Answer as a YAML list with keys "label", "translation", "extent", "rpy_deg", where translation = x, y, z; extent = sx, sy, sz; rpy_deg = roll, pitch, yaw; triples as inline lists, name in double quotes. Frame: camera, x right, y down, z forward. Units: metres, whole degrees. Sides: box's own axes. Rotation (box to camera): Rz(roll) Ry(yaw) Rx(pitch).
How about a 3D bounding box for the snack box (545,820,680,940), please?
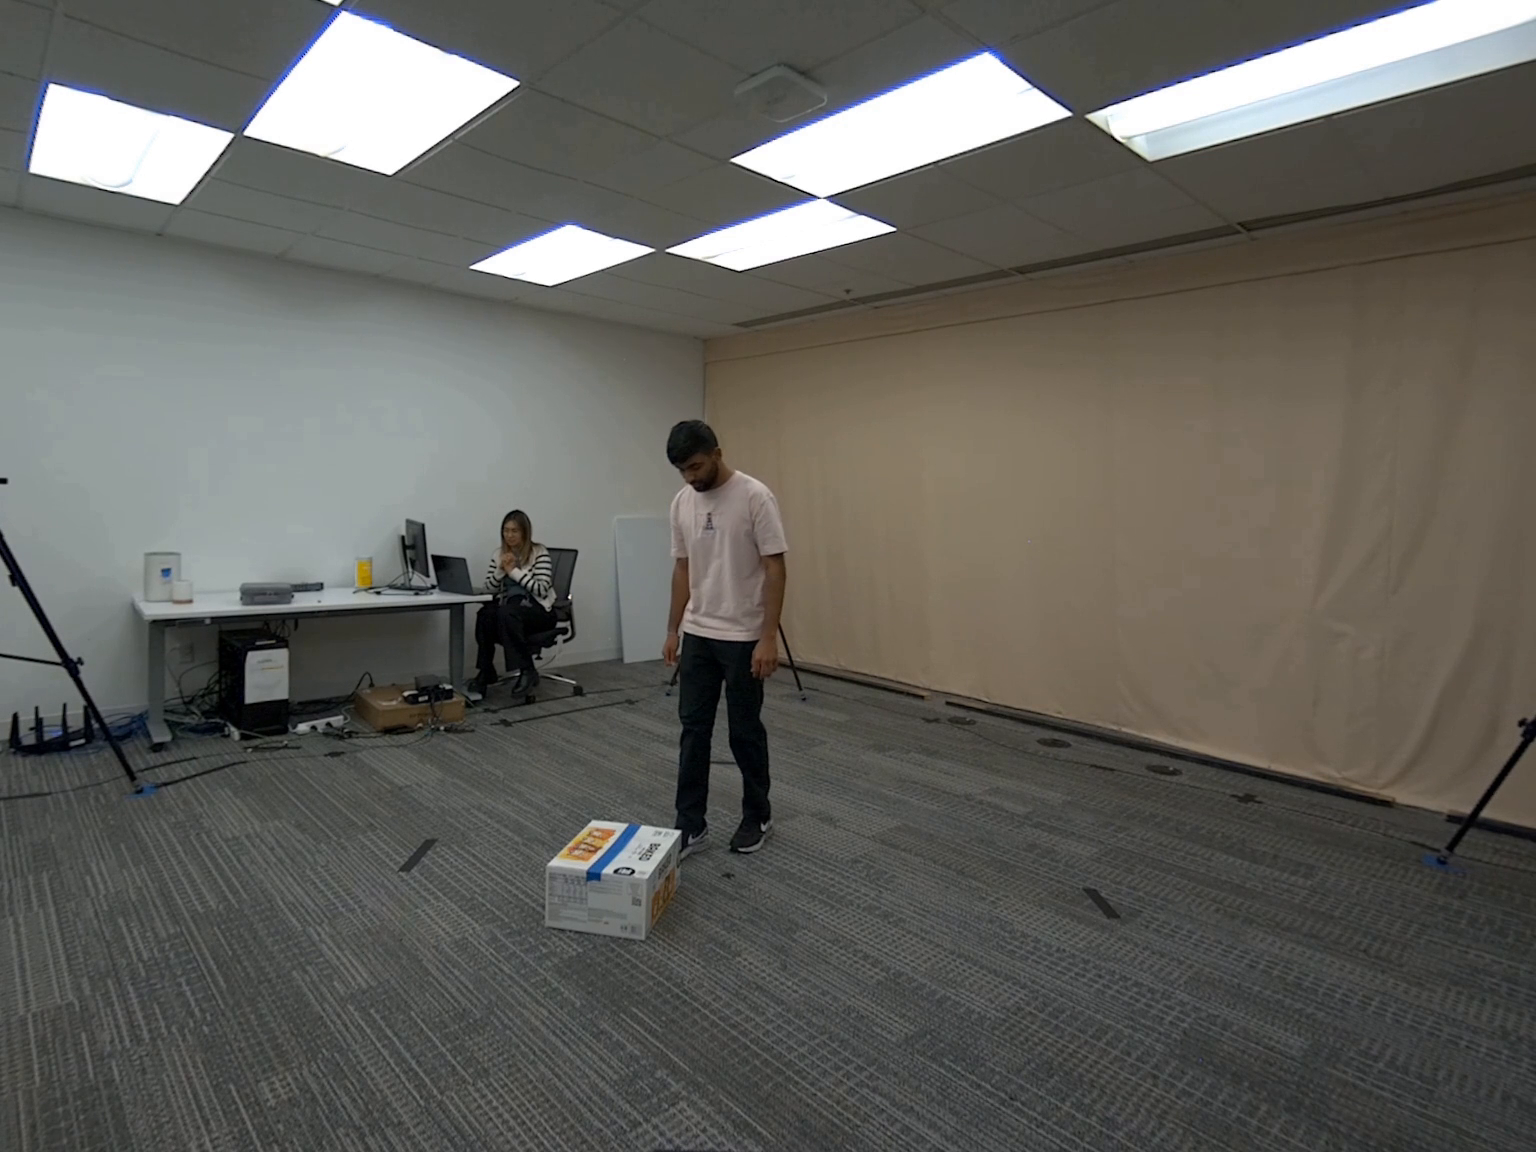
- label: "snack box"
  translation: [-0.523, 1.022, 2.849]
  extent: [0.343, 0.205, 0.402]
  rpy_deg: [2, 5, 11]
